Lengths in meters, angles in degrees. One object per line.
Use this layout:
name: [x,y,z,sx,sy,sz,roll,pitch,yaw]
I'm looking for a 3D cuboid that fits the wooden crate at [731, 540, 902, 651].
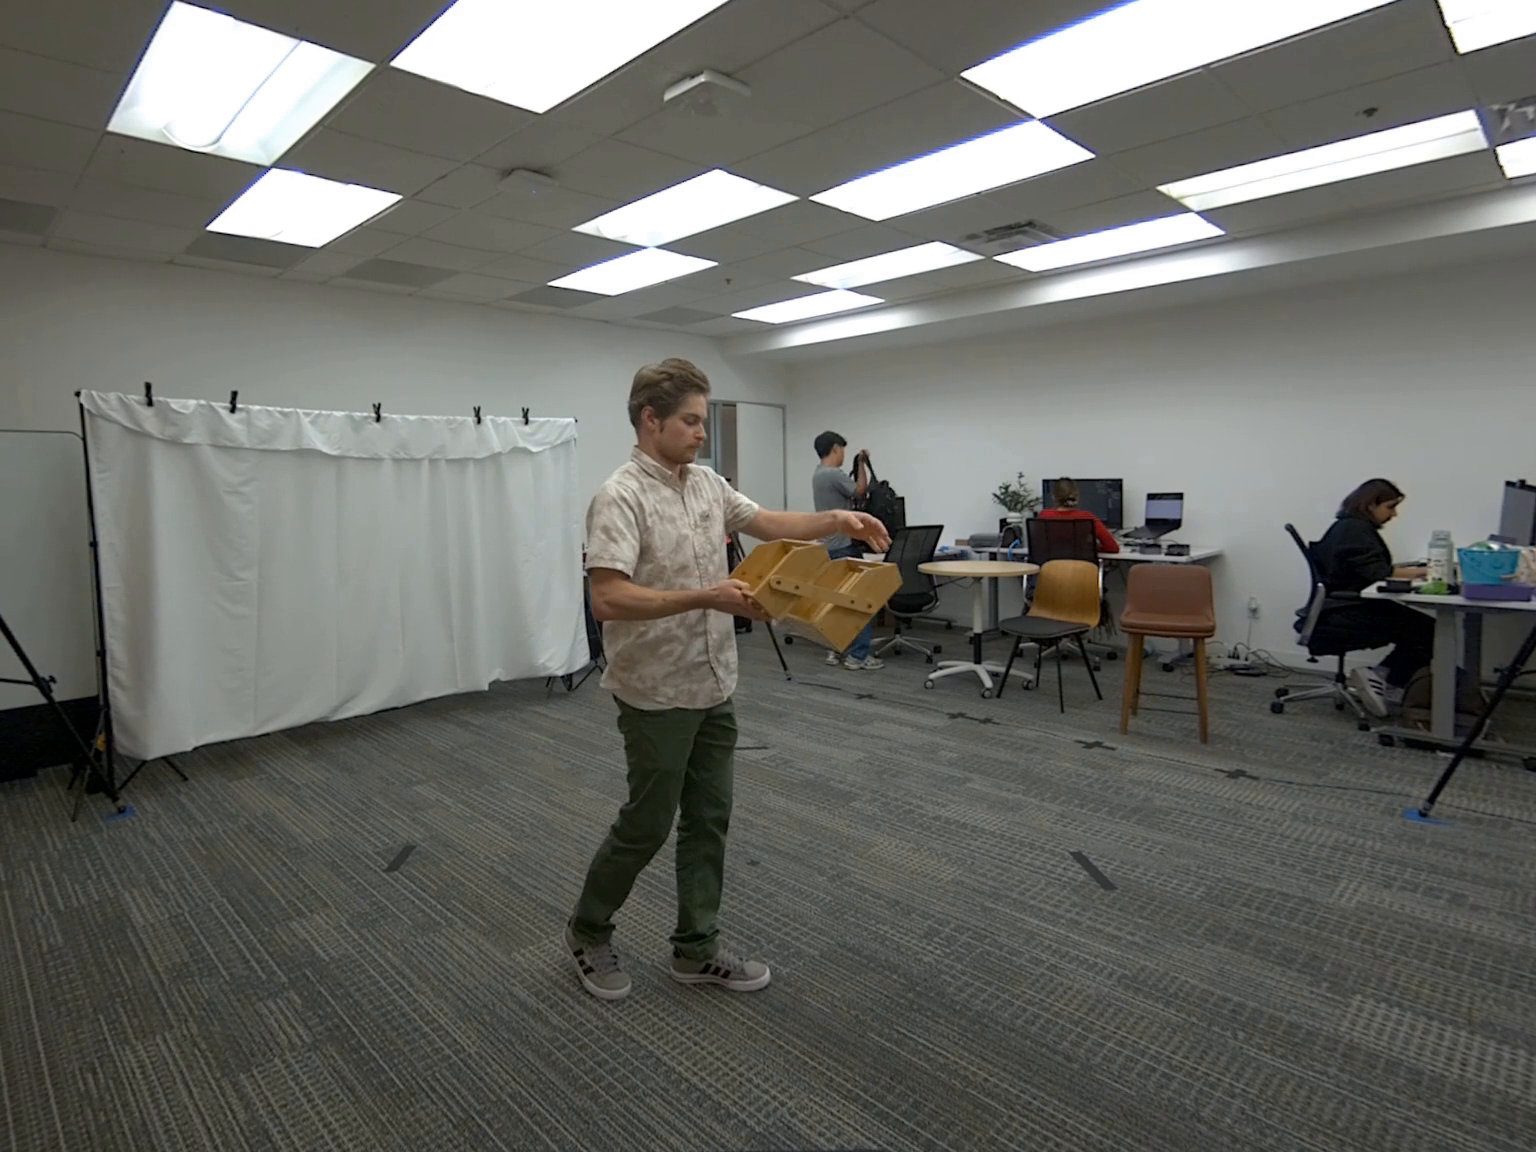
wooden crate: [0.094,0.013,2.158,0.269,0.302,0.329,43,-7,-12]
